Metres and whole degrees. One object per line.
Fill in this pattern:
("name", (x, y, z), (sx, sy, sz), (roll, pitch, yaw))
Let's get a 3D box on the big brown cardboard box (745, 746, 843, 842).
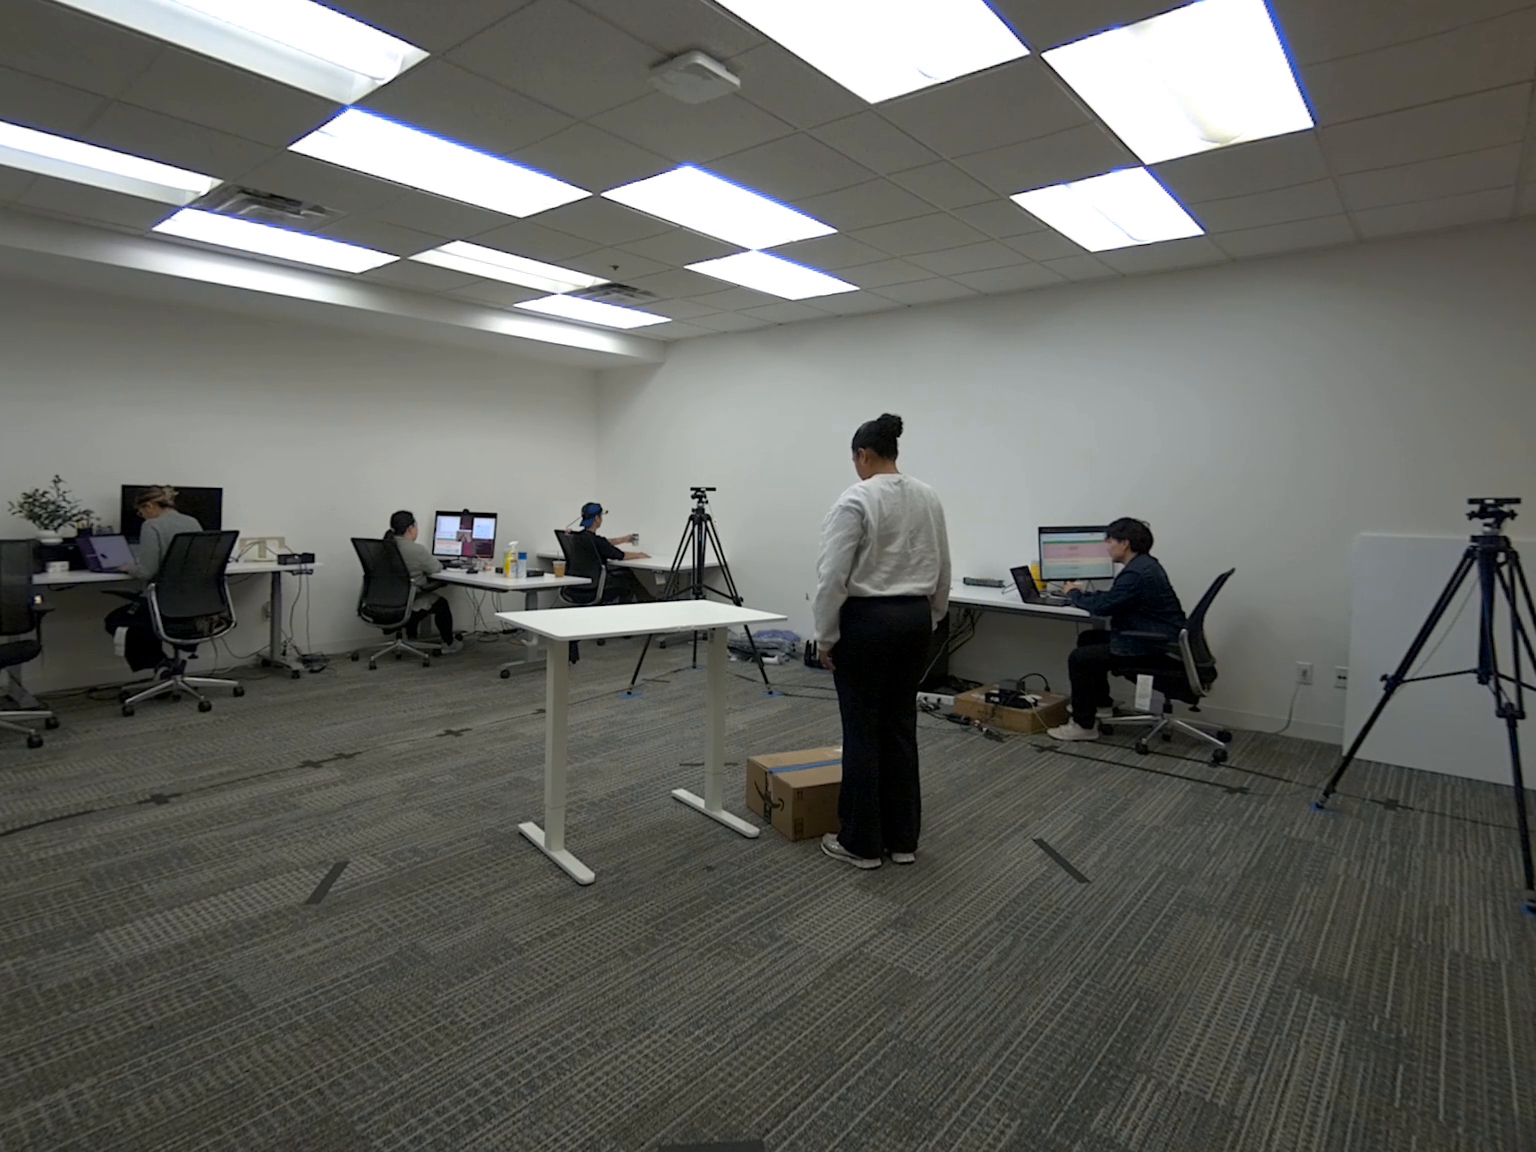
("big brown cardboard box", (0.240, 0.910, 3.667), (0.575, 0.232, 0.430), (-3, 6, -27))
